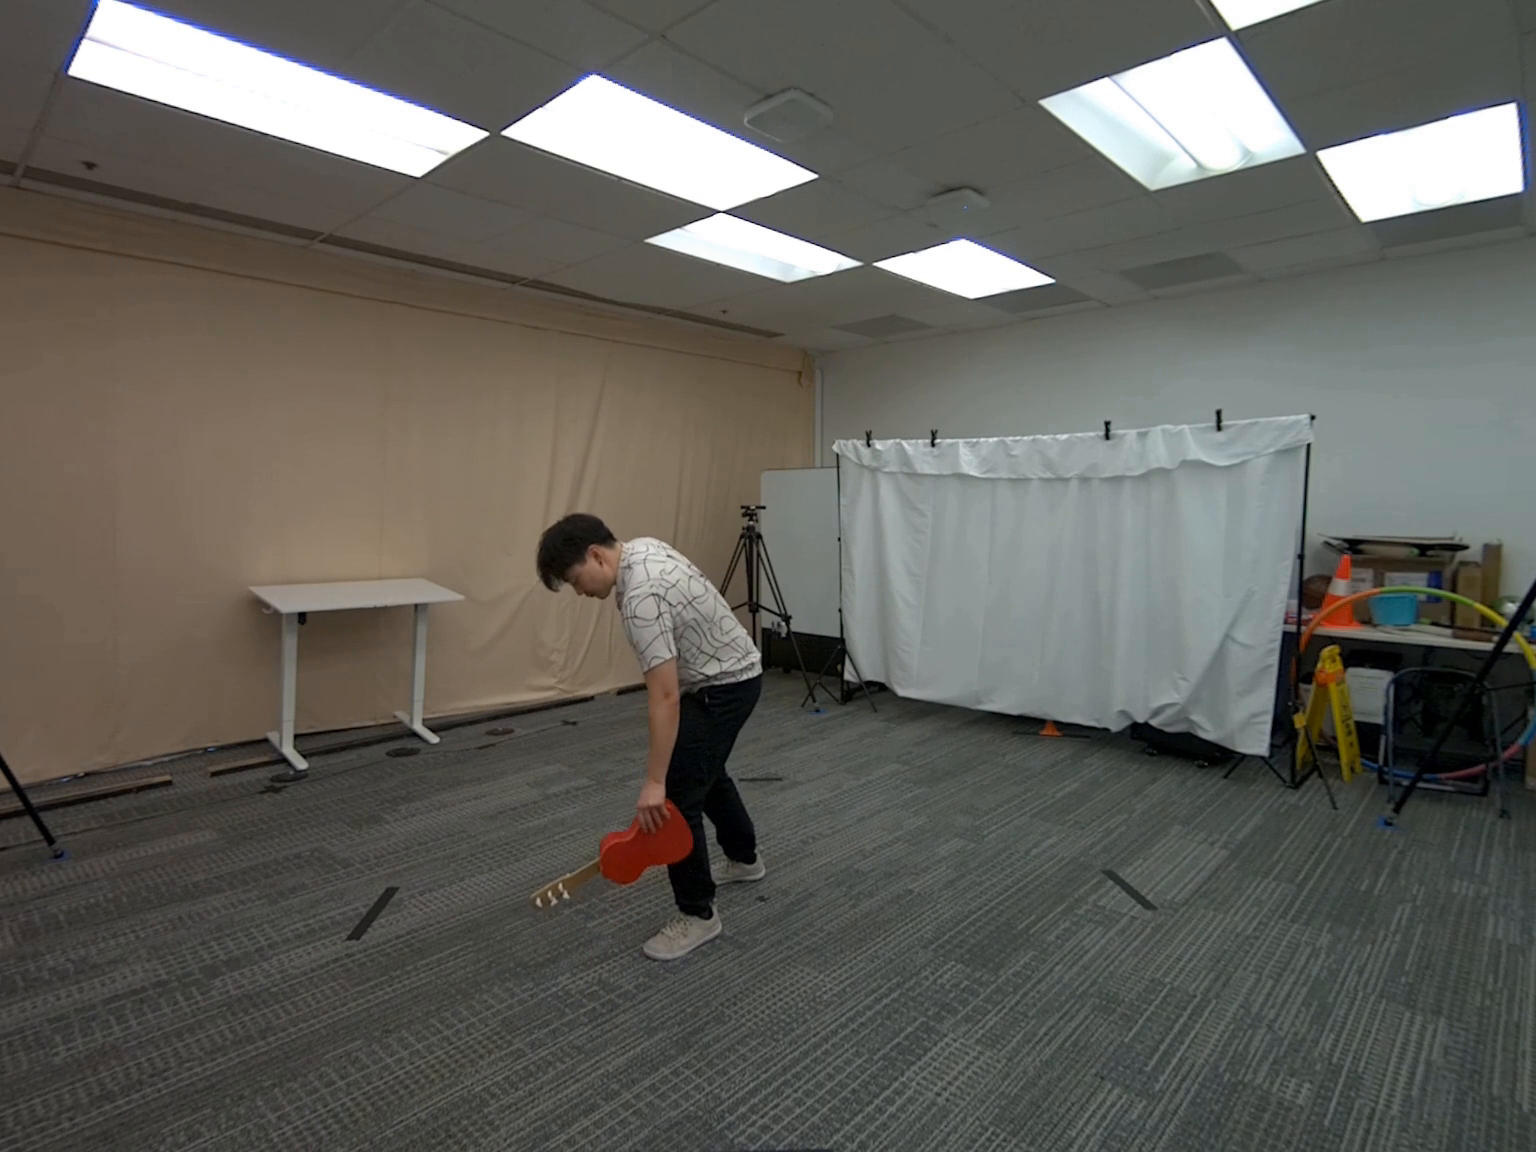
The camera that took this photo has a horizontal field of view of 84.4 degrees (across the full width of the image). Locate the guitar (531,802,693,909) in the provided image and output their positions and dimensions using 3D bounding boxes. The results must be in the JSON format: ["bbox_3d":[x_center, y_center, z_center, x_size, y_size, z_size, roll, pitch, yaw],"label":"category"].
[{"bbox_3d":[-0.453,0.860,2.465,0.496,0.189,0.072,-37,18,-6],"label":"guitar"}]
